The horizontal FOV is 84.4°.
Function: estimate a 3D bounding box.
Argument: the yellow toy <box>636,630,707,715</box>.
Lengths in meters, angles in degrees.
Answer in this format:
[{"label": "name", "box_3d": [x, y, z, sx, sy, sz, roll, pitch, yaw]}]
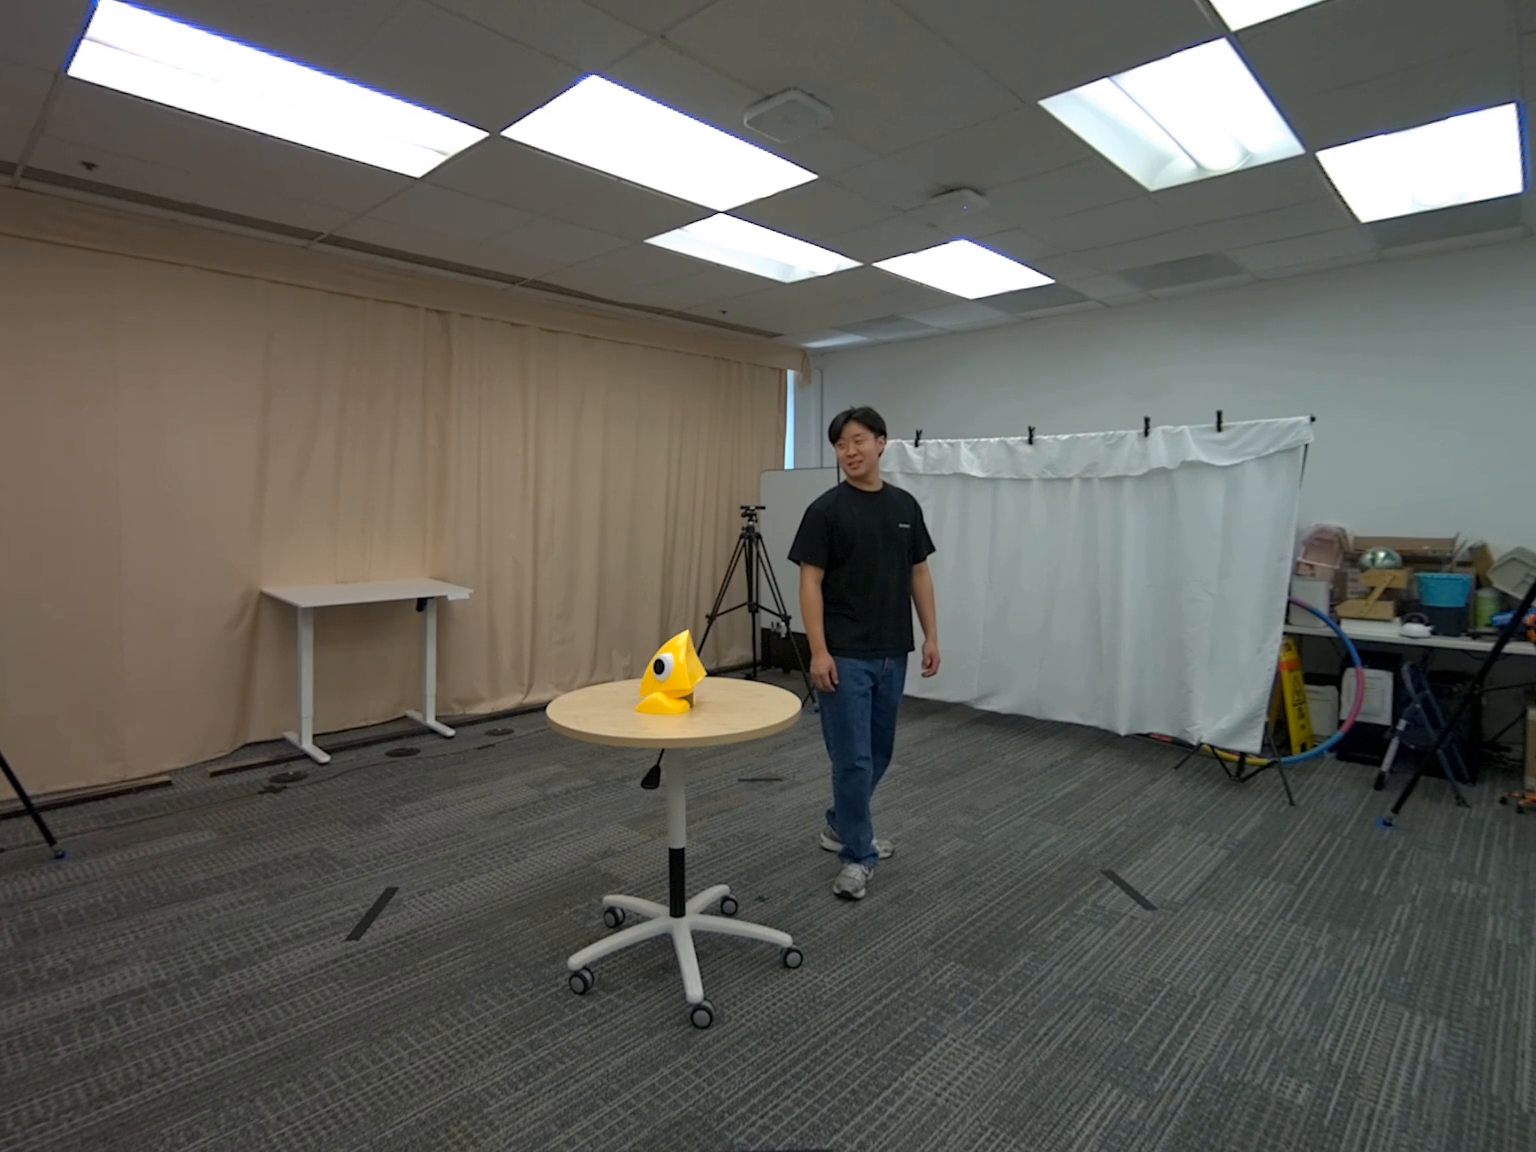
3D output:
[{"label": "yellow toy", "box_3d": [-0.291, 0.275, 2.505, 0.195, 0.230, 0.203, 0, 4, 10]}]
